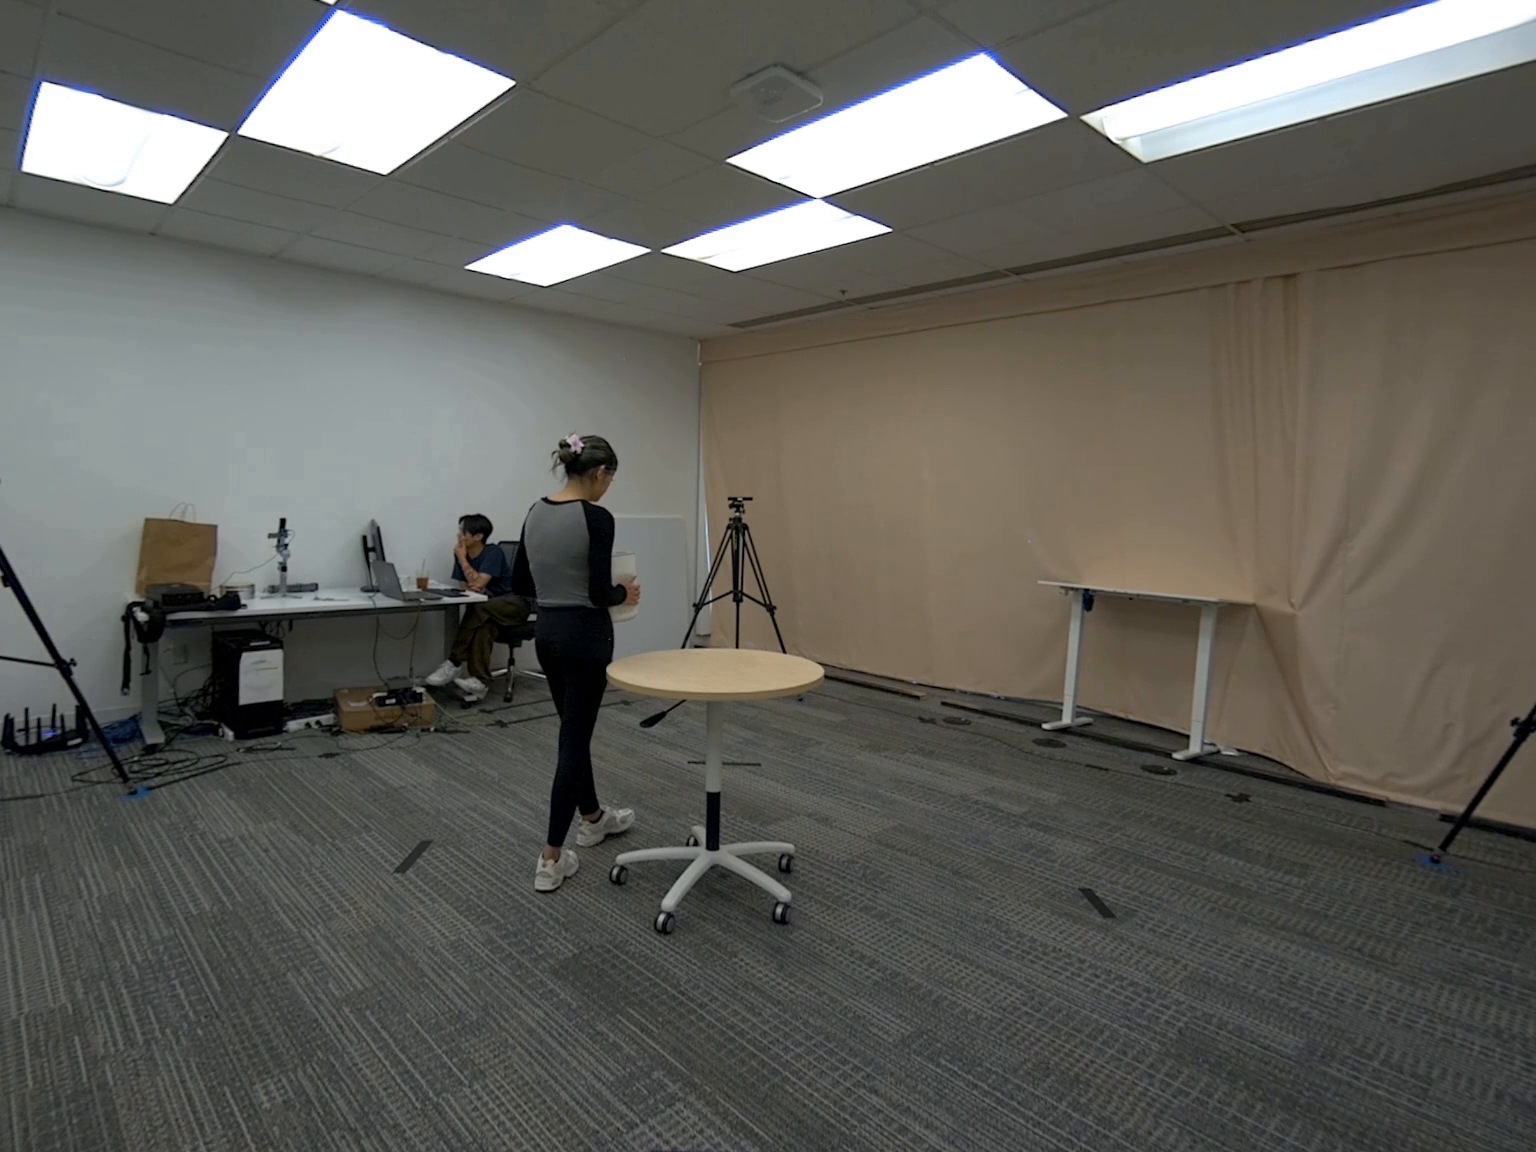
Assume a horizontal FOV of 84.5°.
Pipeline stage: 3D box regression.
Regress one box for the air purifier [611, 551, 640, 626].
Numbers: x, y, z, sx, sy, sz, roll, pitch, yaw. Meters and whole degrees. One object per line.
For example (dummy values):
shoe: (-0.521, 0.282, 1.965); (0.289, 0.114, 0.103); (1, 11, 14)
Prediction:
air purifier: (-0.633, 0.045, 3.287); (0.175, 0.264, 0.168); (1, 8, 38)
